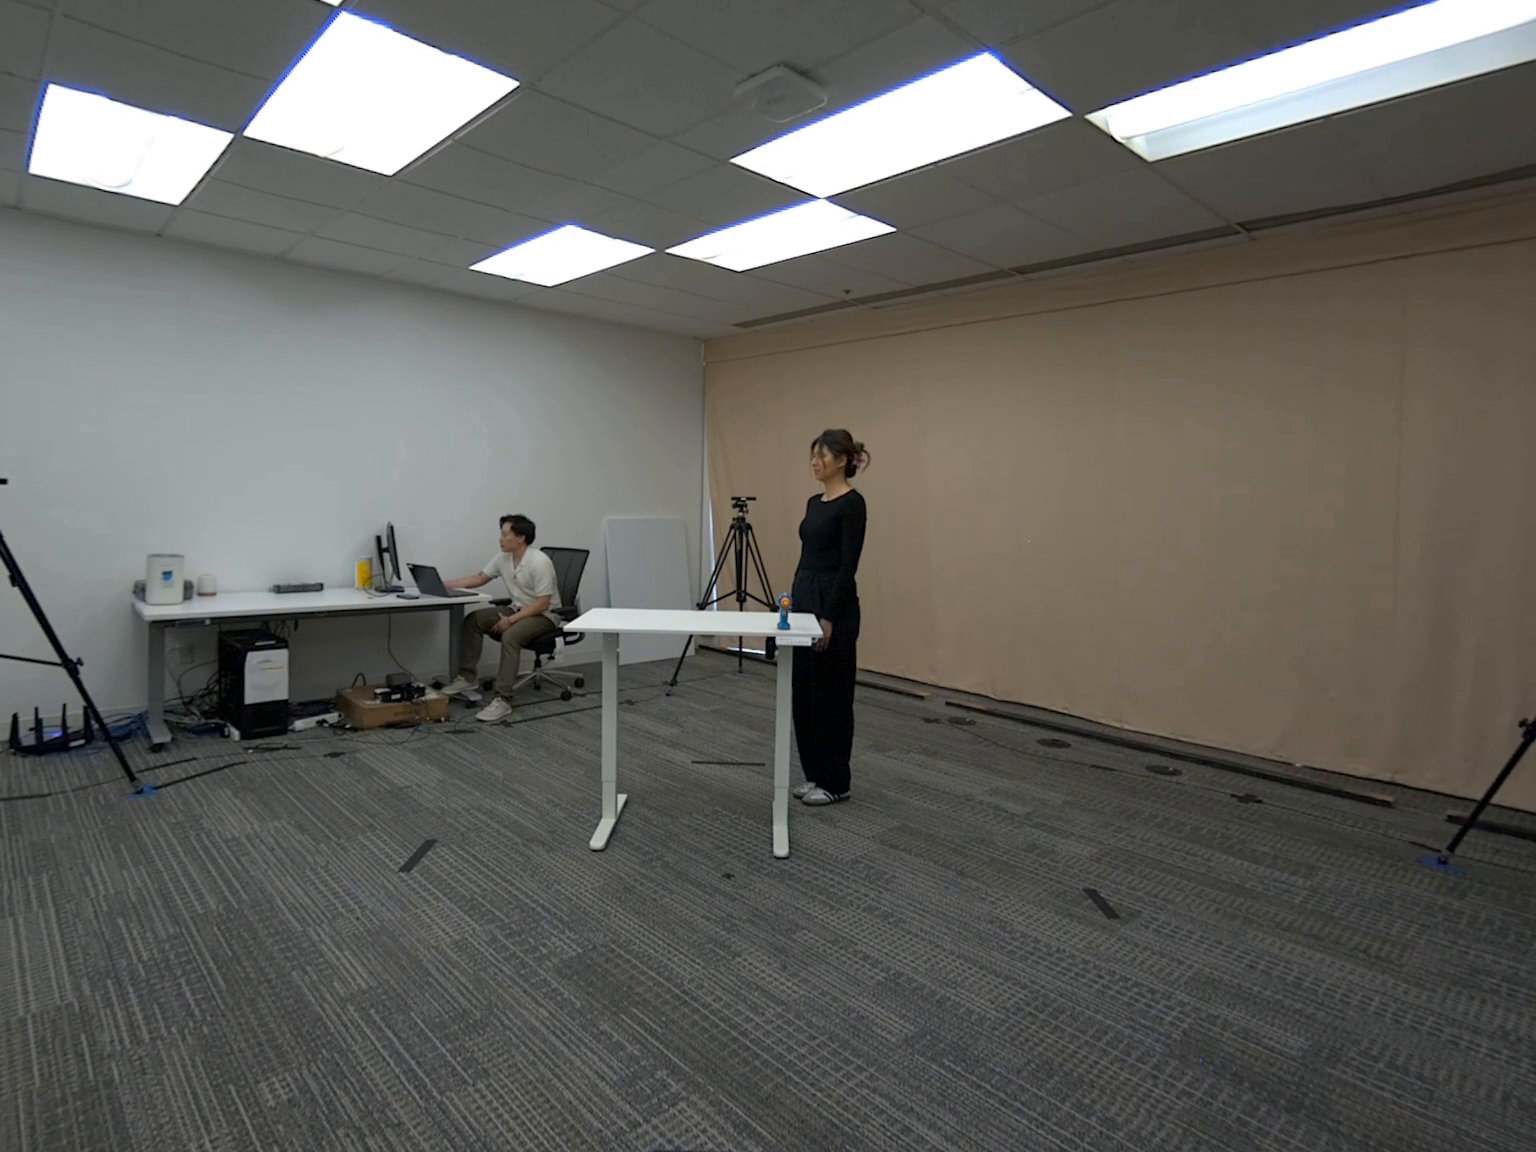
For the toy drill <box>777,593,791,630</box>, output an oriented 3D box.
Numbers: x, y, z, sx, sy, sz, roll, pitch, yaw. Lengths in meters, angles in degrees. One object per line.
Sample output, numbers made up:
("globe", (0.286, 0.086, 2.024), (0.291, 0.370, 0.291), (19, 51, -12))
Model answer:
("toy drill", (0.059, 0.142, 3.273), (0.061, 0.146, 0.170), (1, 2, 0))
